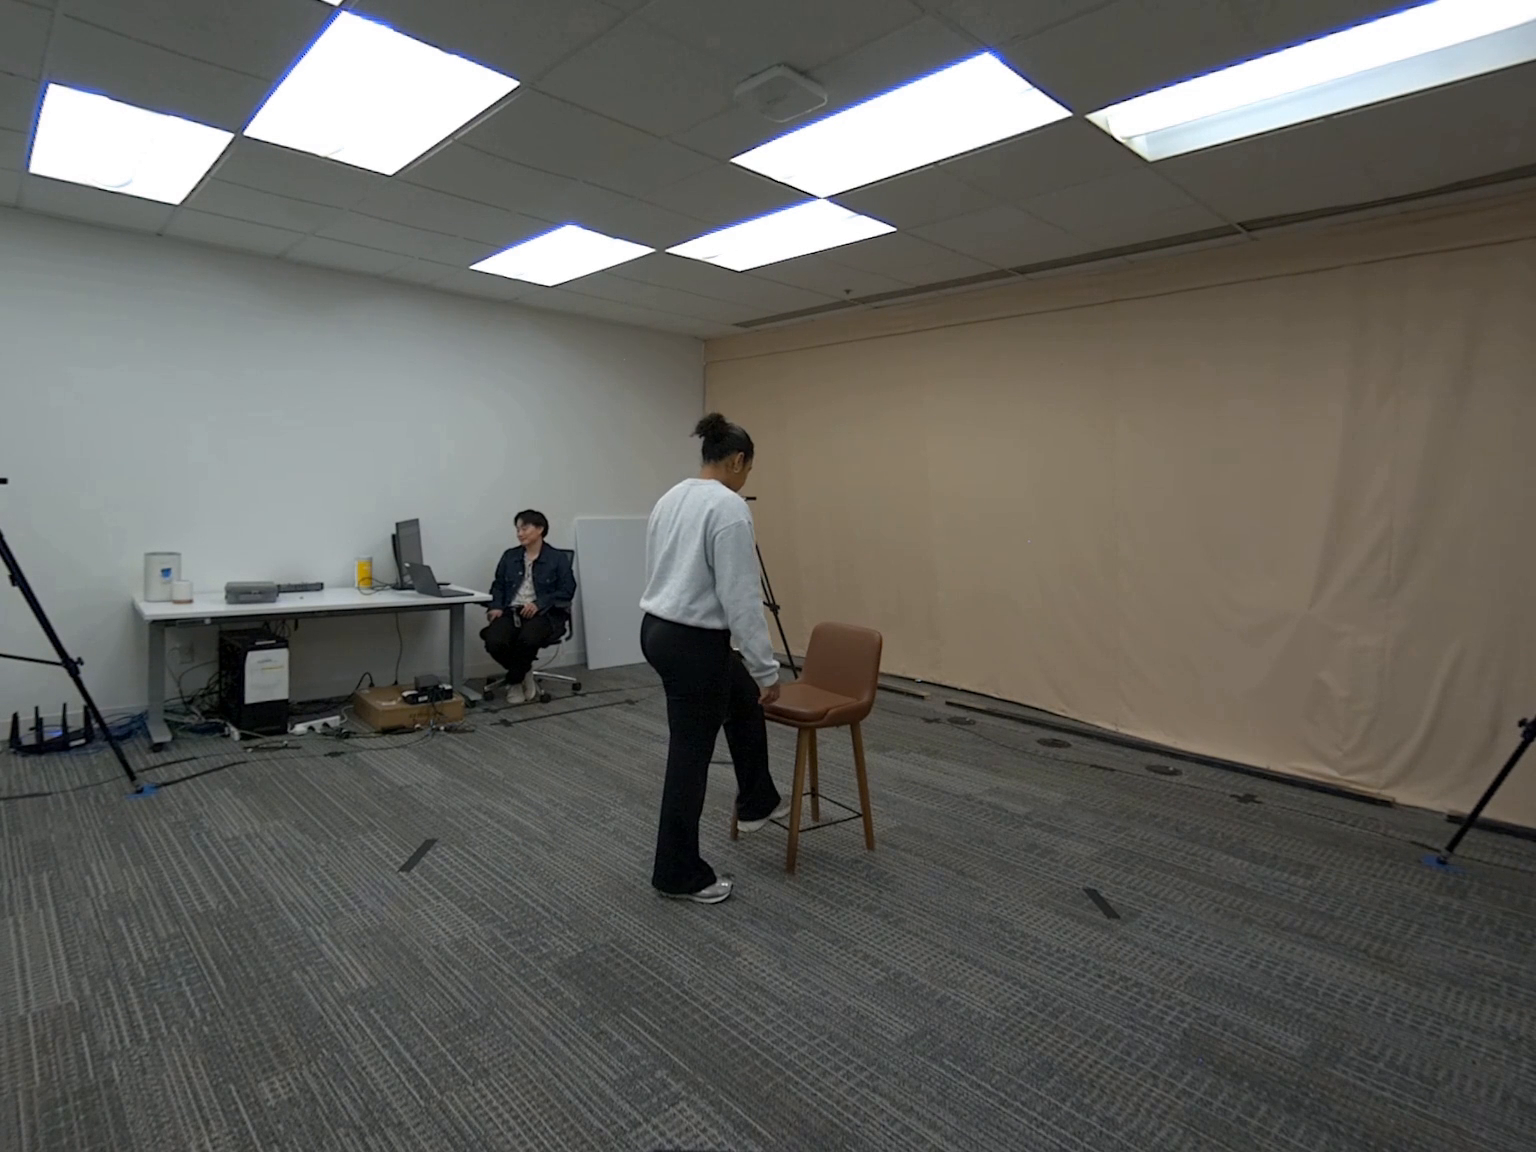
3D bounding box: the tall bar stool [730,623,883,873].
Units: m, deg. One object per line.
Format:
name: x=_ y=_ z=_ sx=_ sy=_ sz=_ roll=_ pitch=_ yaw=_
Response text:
tall bar stool: x=0.155 y=0.653 z=3.394 sx=0.457 sy=0.889 sz=0.467 roll=2 pitch=2 yaw=-35
